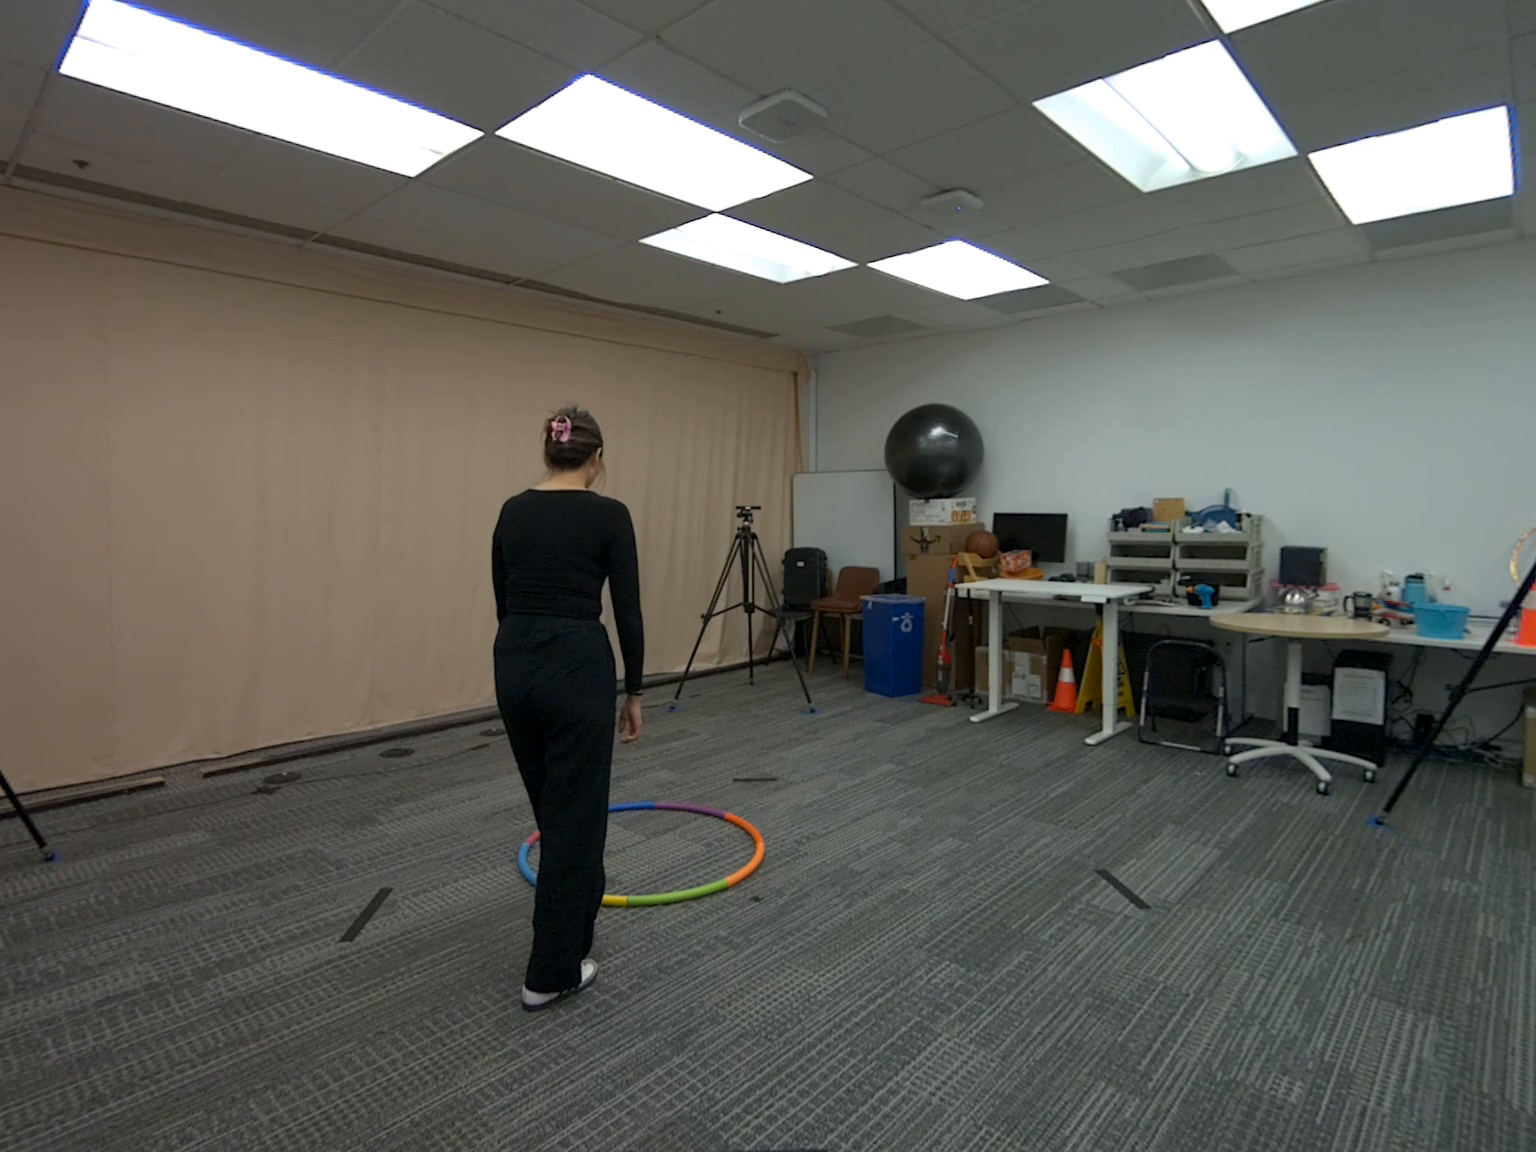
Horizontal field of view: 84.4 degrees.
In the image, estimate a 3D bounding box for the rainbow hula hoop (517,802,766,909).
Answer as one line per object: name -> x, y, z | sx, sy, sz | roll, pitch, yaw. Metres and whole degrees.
rainbow hula hoop -> -0.503, 1.082, 3.405 | 0.978, 0.035, 0.982 | 0, 4, -2
